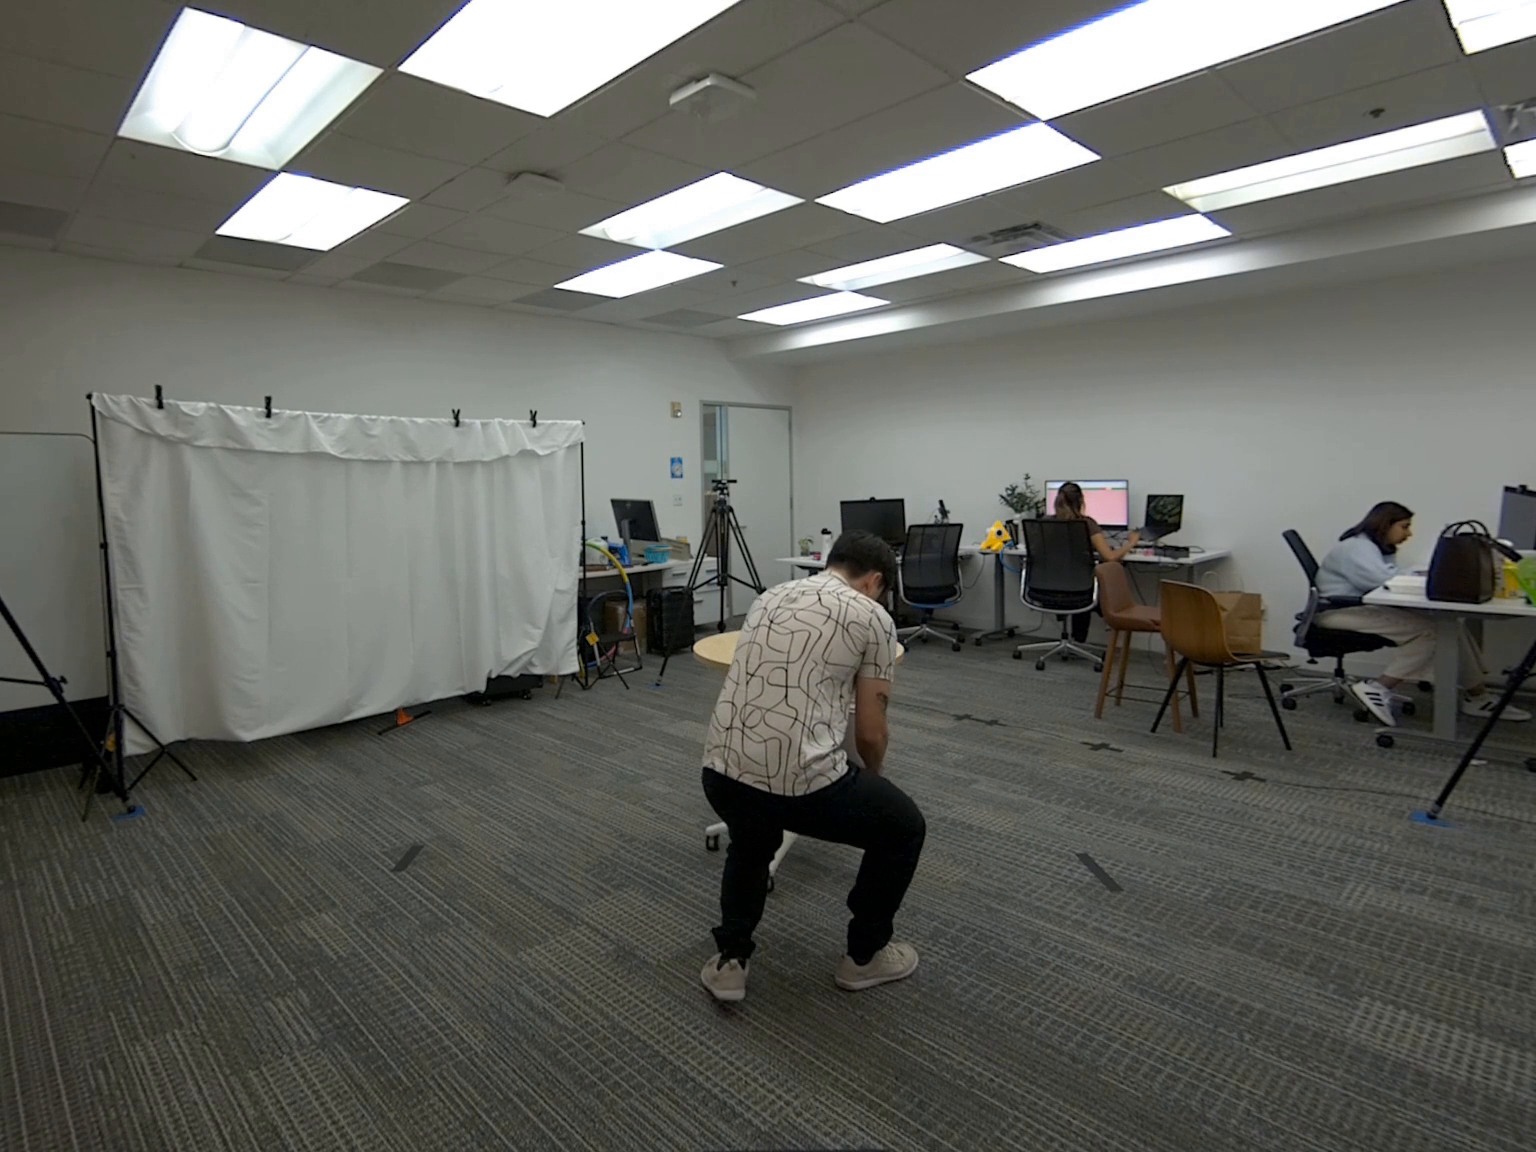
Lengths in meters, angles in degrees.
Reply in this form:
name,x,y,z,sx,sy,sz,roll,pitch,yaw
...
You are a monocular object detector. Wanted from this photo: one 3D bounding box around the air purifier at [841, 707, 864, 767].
name,x,y,z,sx,sy,sz,roll,pitch,yaw
air purifier,0.256,0.529,2.594,0.175,0.265,0.167,4,2,27
